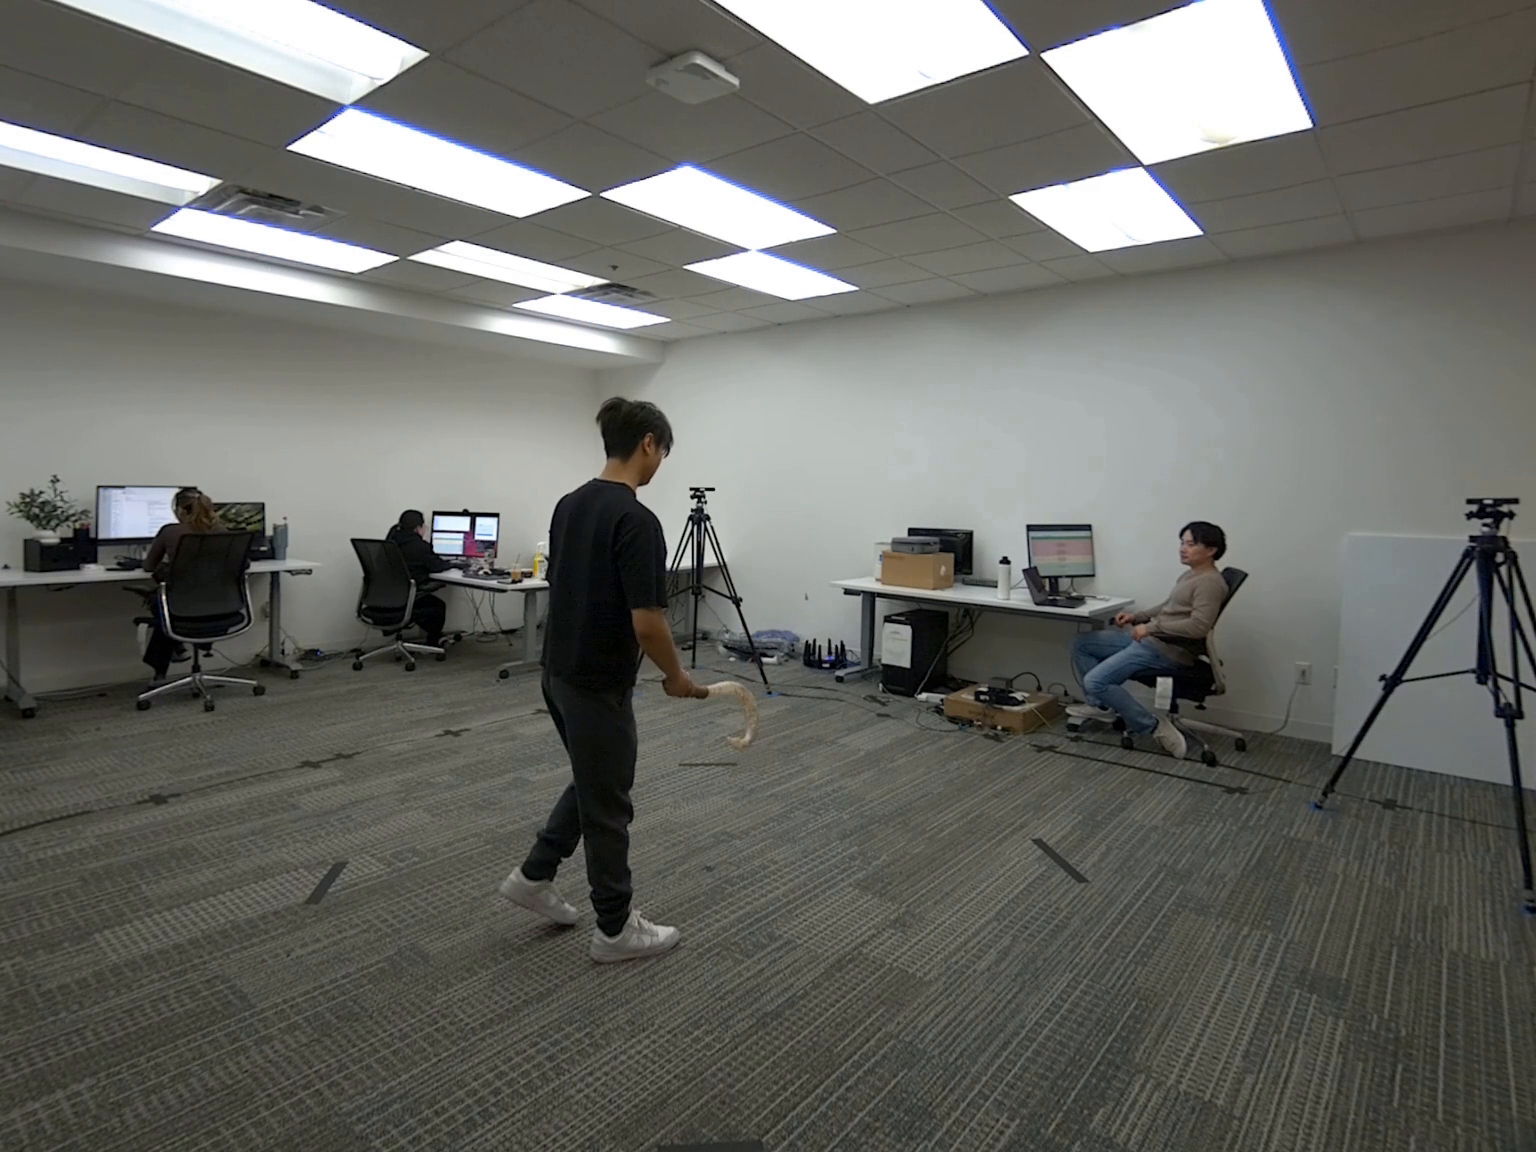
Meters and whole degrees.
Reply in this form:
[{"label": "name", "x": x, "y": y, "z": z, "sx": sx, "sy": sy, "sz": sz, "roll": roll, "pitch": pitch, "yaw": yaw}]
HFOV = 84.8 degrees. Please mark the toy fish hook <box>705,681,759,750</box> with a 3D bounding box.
[{"label": "toy fish hook", "x": -0.181, "y": 0.418, "z": 2.693, "sx": 0.049, "sy": 0.231, "sz": 0.486, "roll": -27, "pitch": -29, "yaw": 27}]
